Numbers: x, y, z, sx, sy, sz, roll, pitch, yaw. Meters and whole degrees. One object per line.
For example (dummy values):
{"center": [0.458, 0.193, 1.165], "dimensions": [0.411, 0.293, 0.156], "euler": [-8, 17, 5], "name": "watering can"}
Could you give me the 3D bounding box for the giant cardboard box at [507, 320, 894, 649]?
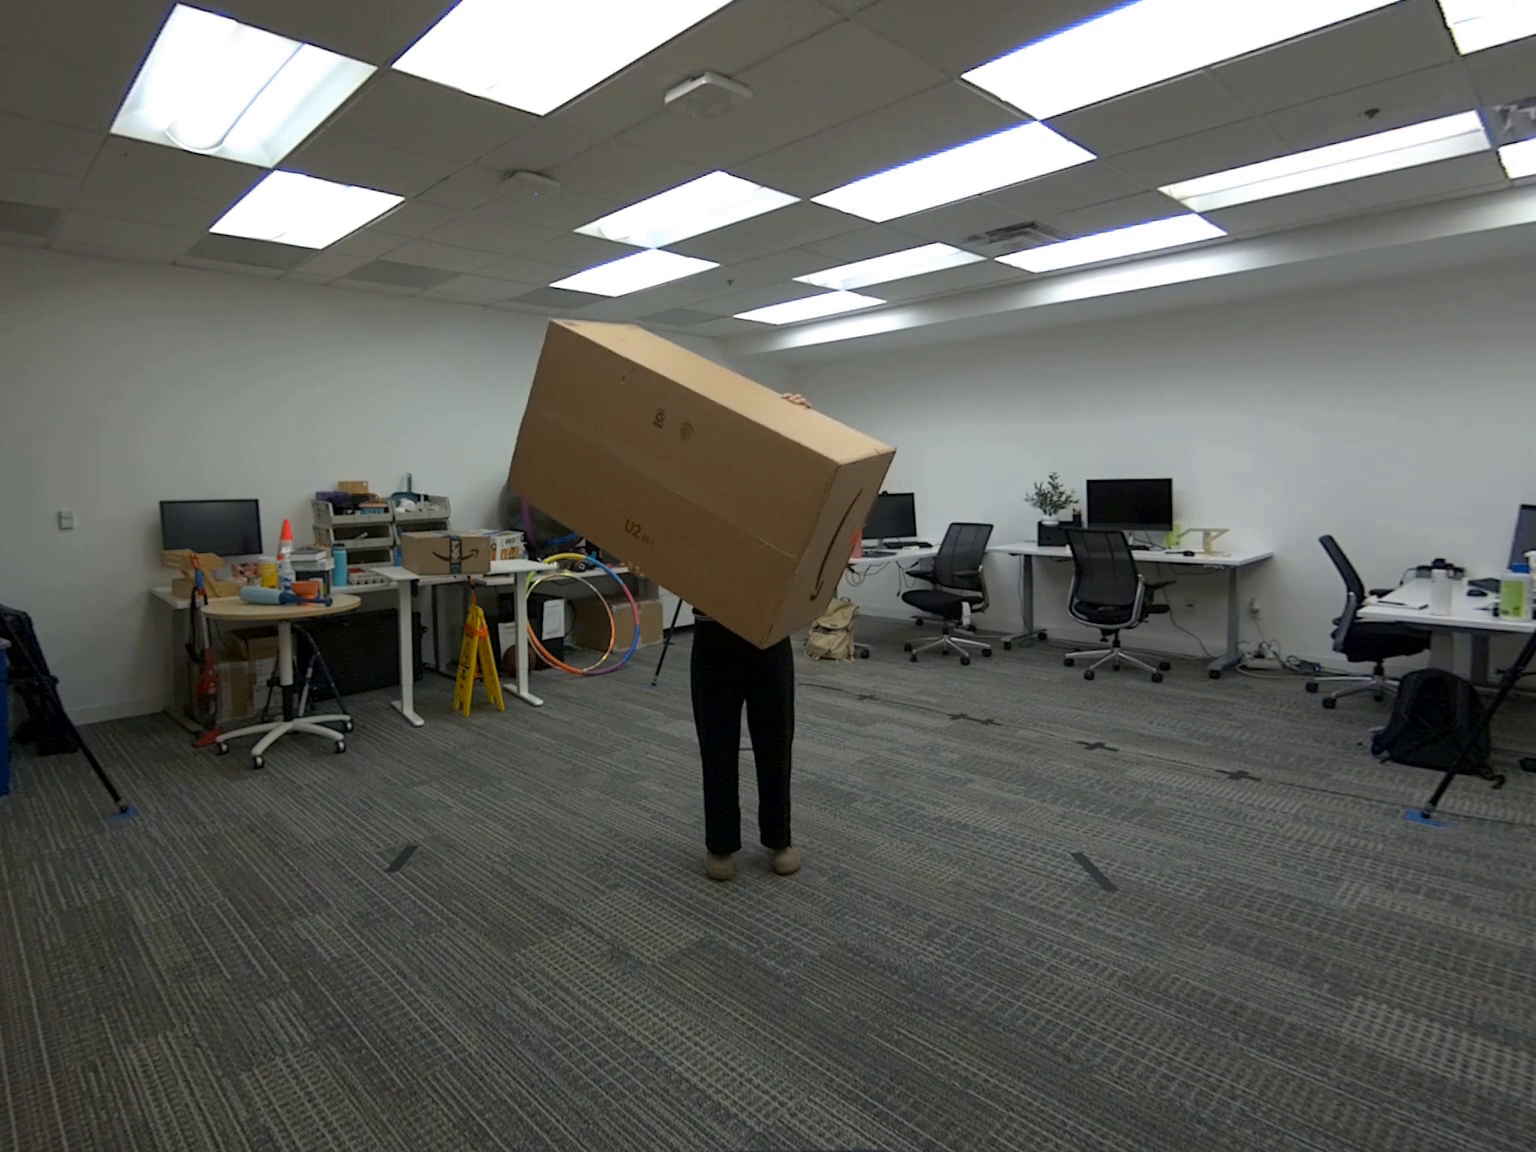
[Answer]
{"center": [-0.229, -0.321, 2.626], "dimensions": [1.054, 0.572, 0.419], "euler": [30, 23, 22], "name": "giant cardboard box"}
